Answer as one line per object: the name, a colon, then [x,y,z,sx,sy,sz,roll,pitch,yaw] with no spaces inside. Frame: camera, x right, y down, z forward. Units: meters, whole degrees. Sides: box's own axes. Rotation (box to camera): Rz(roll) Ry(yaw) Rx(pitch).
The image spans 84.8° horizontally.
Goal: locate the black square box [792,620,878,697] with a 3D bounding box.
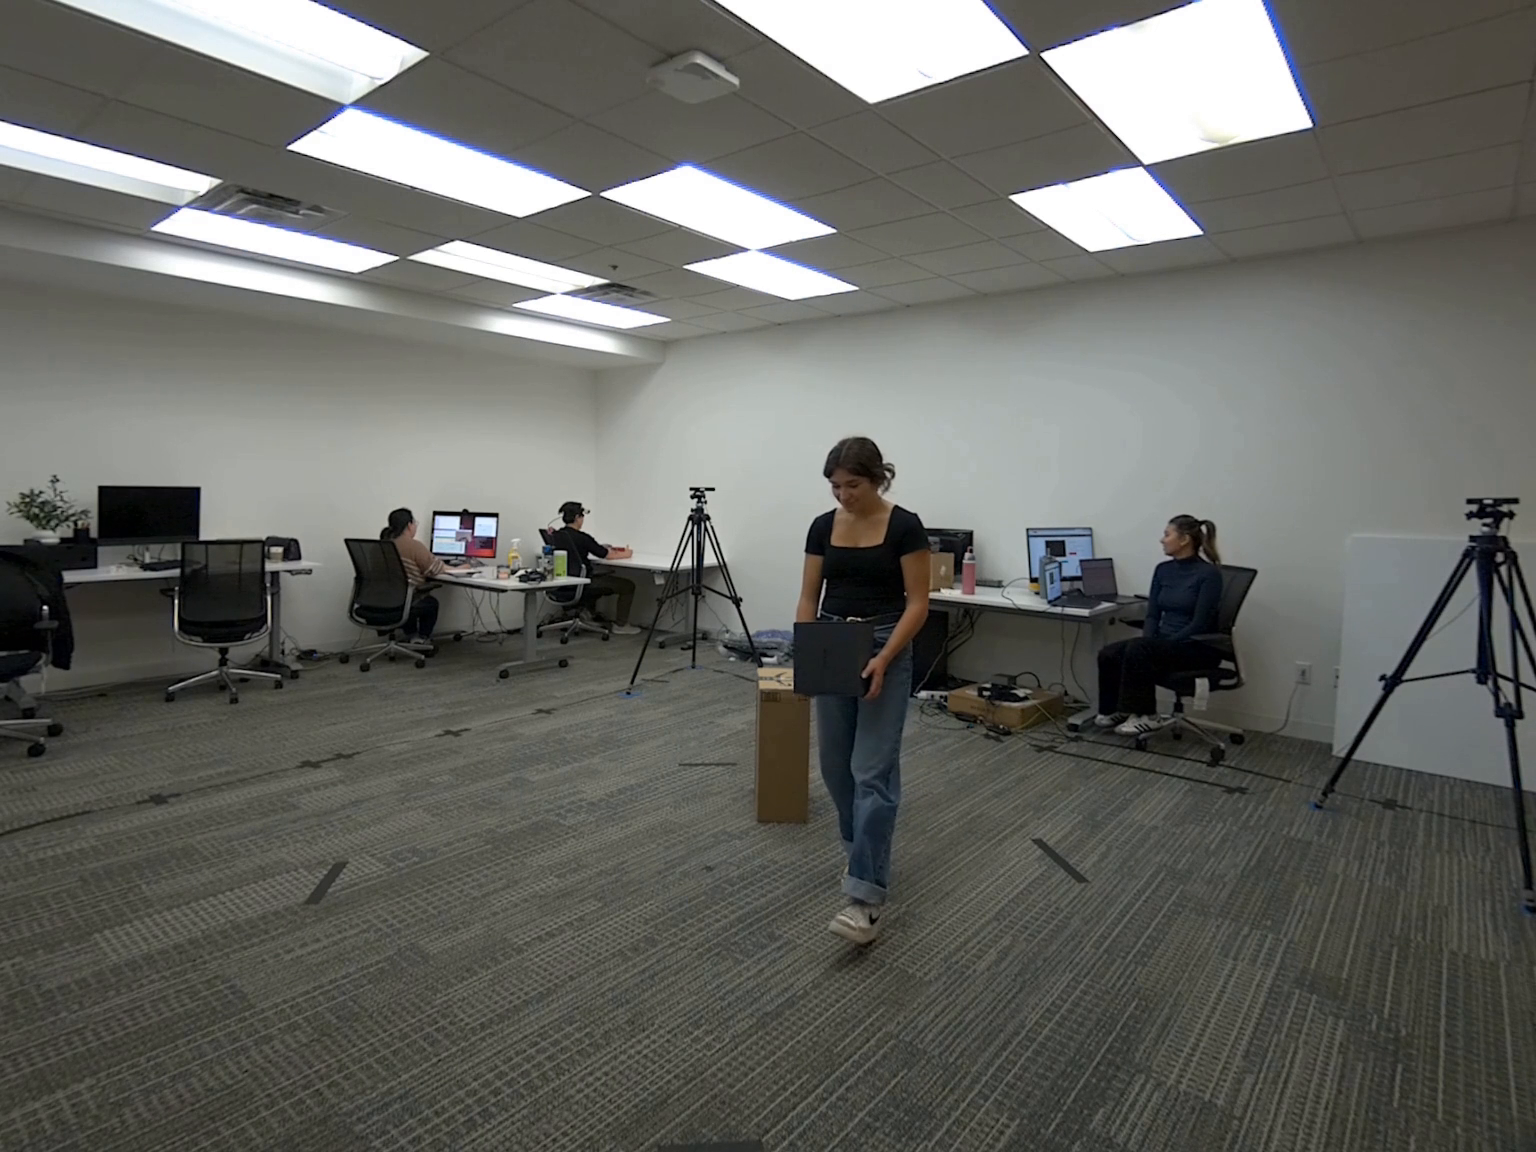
black square box: [0.202,0.254,2.708,0.222,0.229,0.151,-3,-5,28]
